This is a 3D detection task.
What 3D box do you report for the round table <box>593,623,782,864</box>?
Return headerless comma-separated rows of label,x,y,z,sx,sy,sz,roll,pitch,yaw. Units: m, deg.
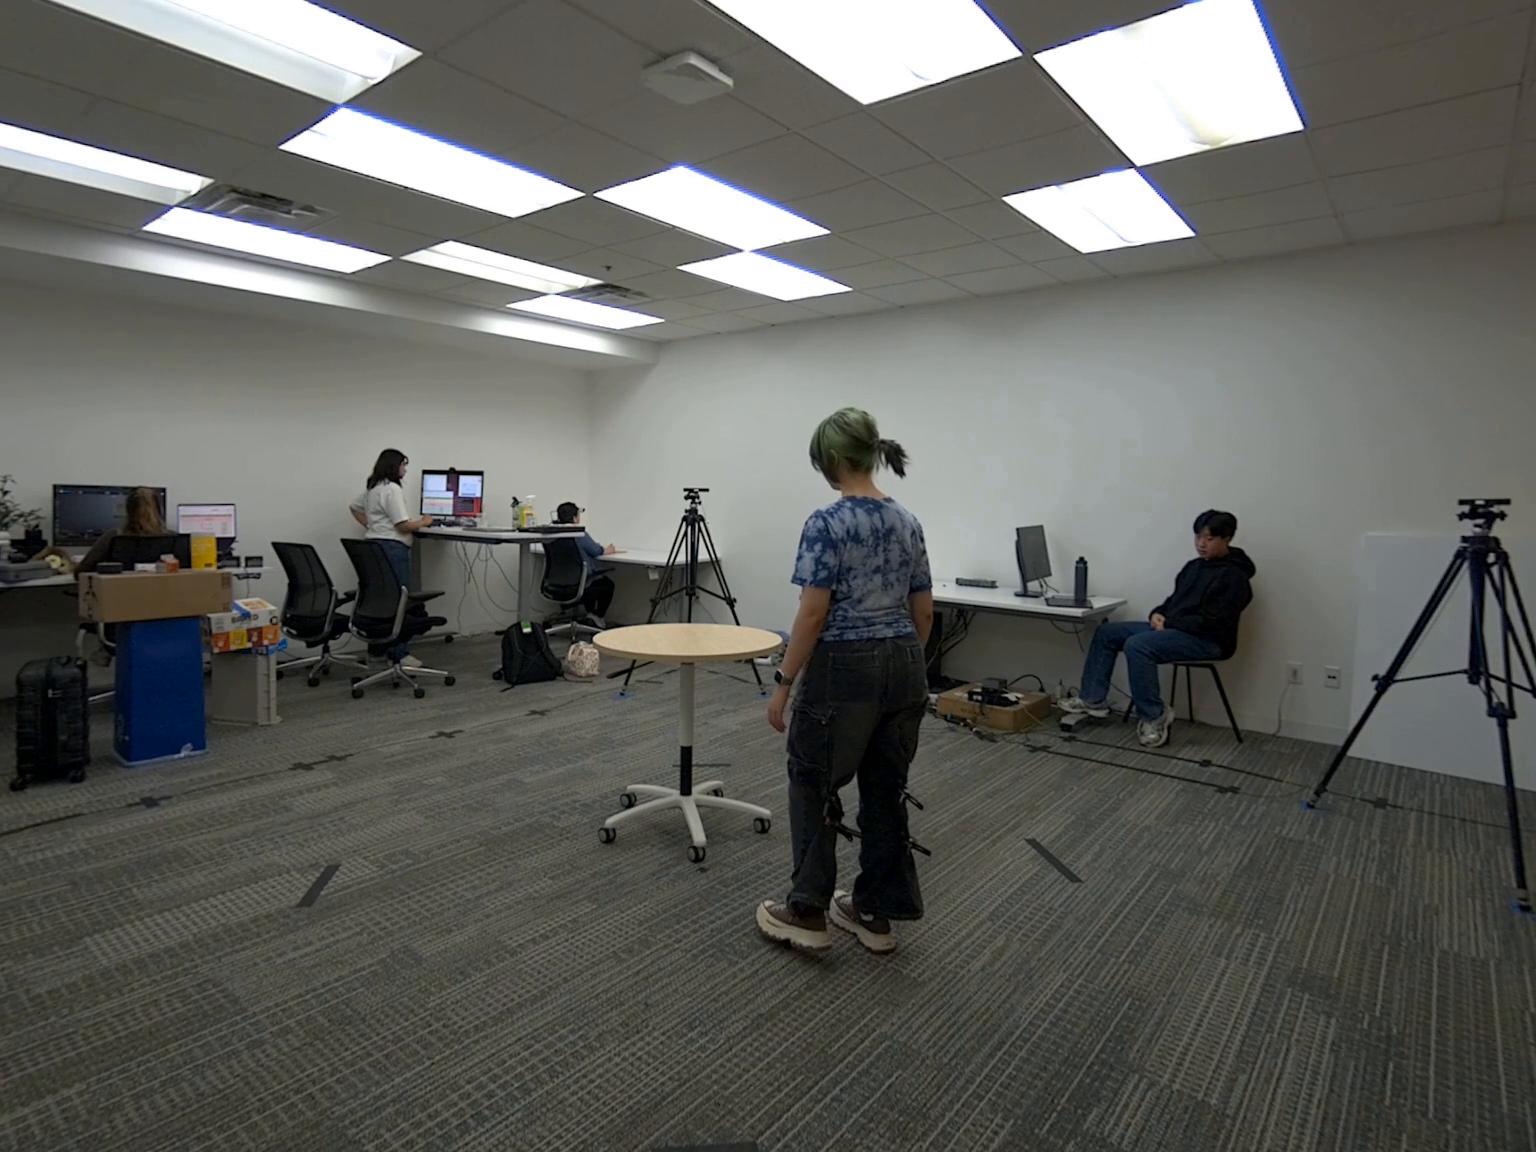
round table,-0.354,0.643,3.470,0.763,0.792,0.767,1,4,-2
